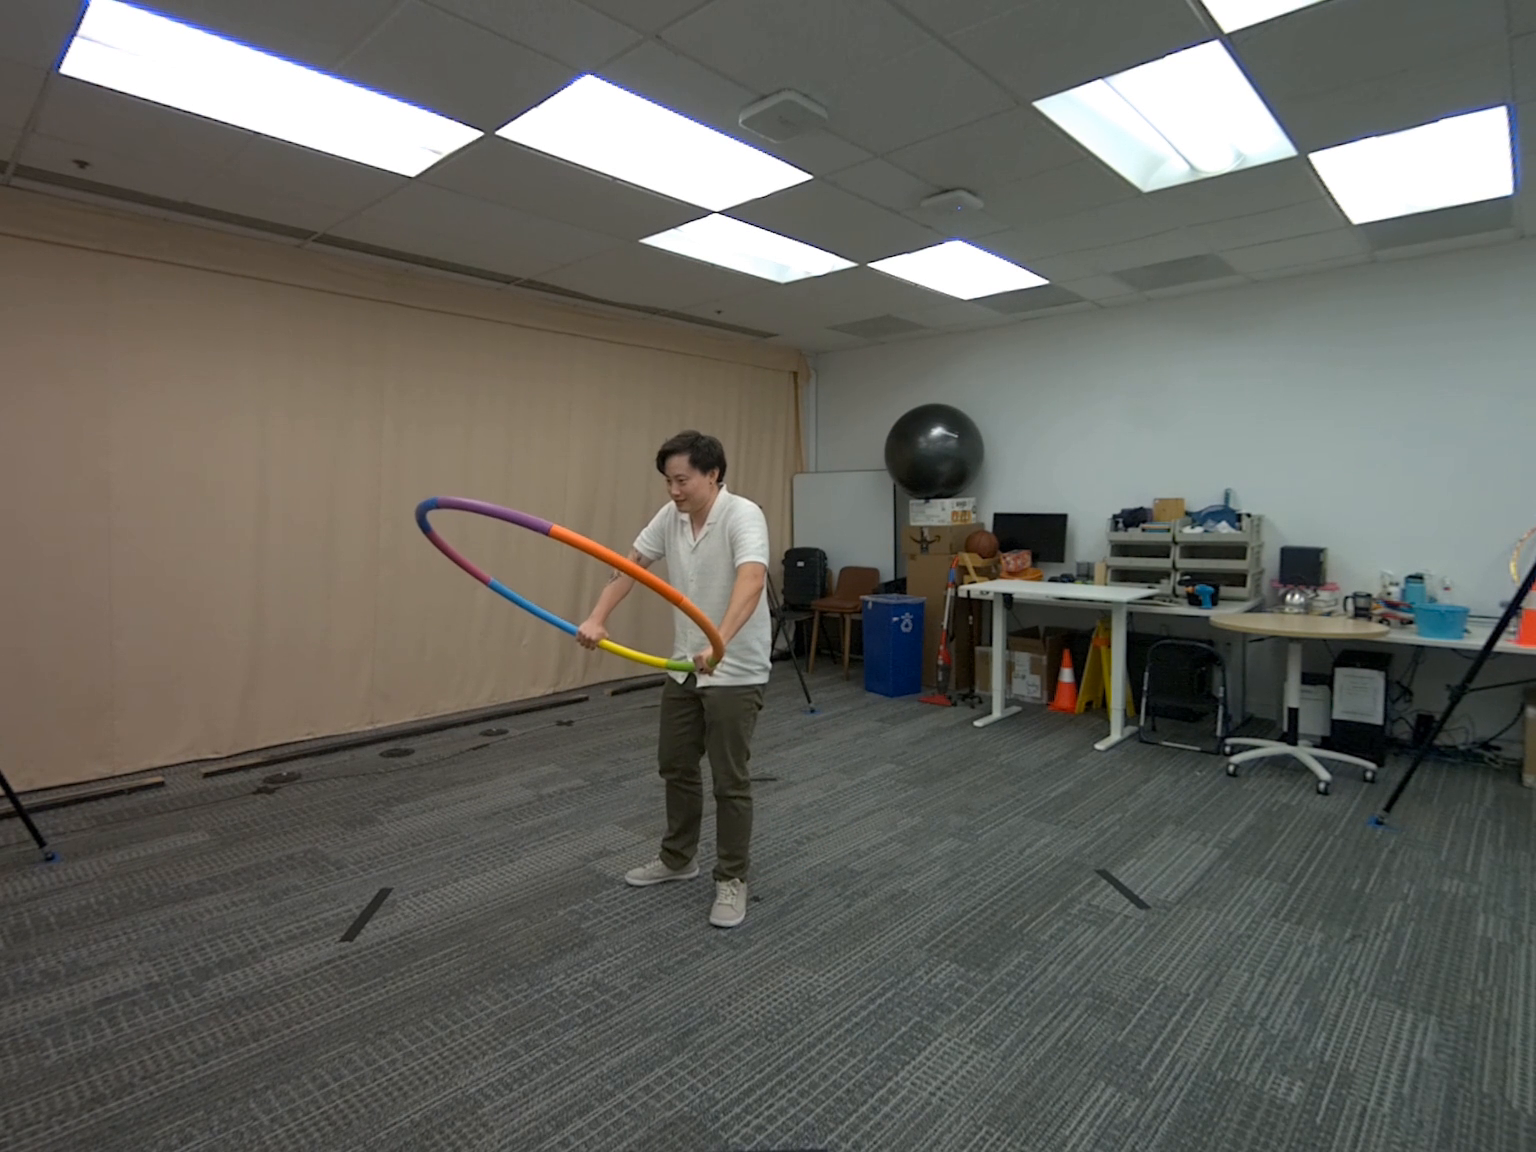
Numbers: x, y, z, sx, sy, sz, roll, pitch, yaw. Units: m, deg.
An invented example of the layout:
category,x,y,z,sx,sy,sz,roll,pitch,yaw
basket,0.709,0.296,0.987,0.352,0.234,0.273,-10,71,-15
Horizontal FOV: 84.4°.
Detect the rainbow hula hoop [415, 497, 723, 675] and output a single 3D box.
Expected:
category,x,y,z,sx,sy,sz,roll,pitch,yaw
rainbow hula hoop,-0.592,0.052,2.487,0.989,0.035,0.967,23,-21,7
